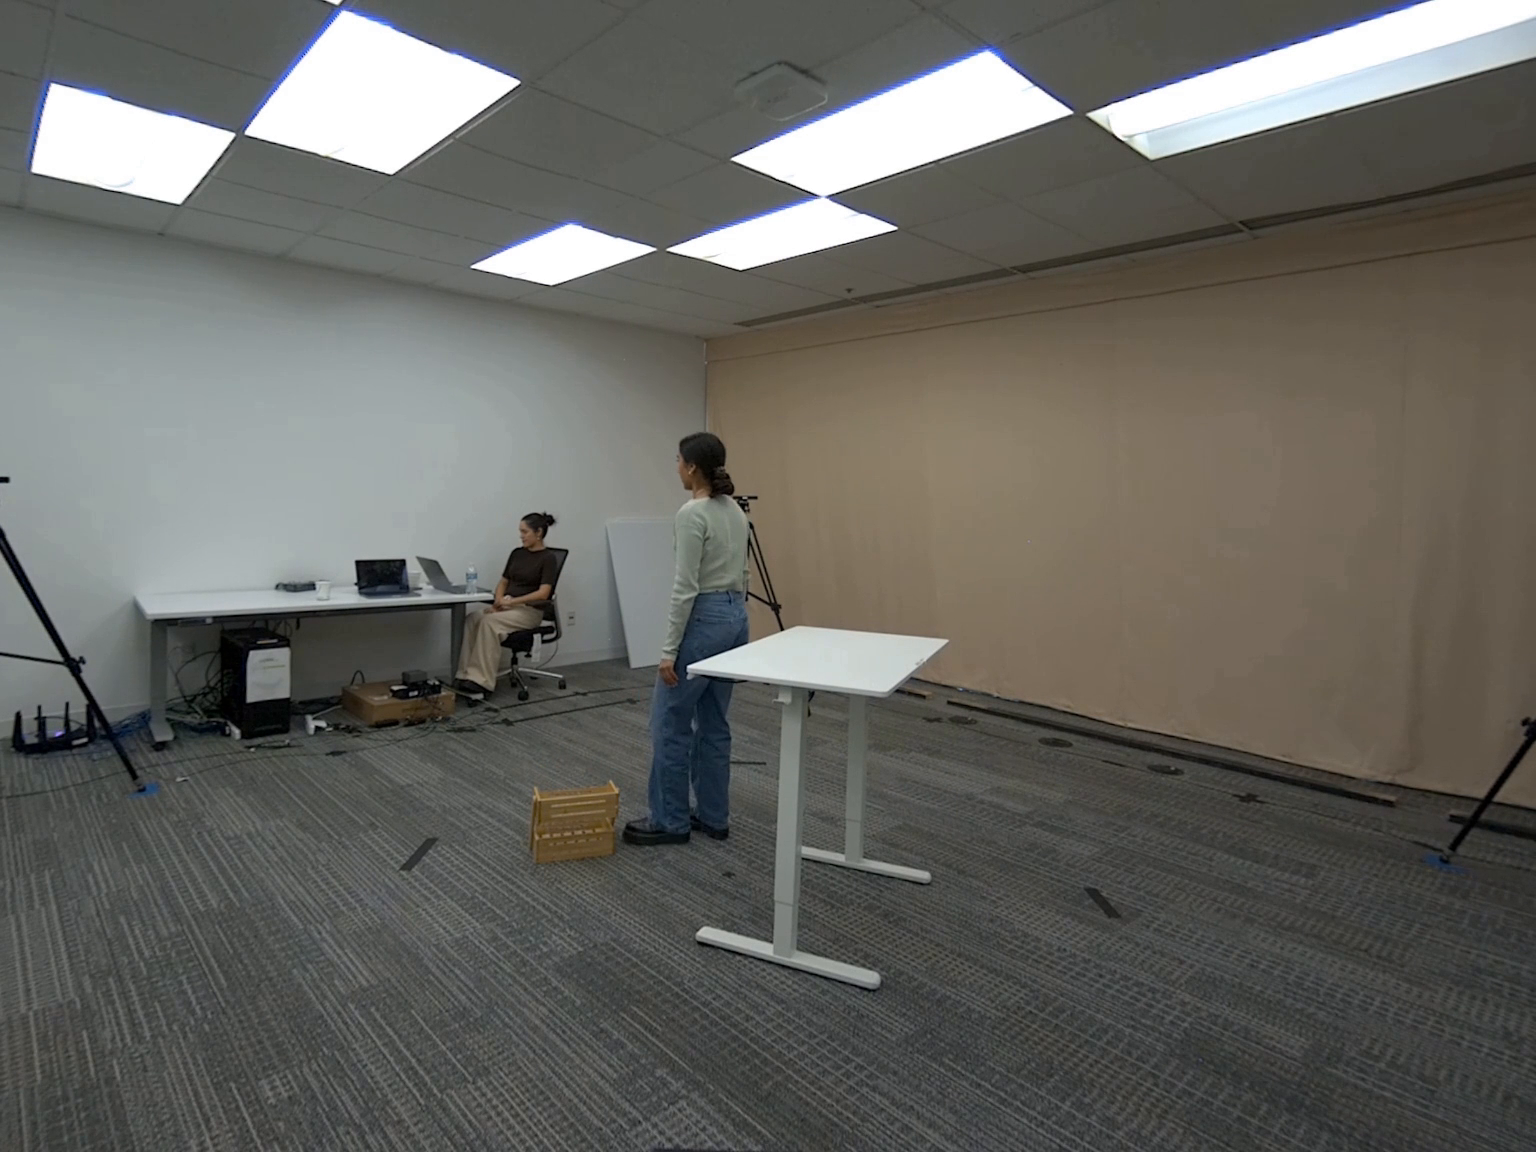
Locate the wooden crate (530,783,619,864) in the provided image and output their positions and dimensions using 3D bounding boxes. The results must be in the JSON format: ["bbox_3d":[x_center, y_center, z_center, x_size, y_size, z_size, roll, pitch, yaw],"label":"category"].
[{"bbox_3d":[-0.777,0.938,3.296,0.319,0.272,0.308,0,5,-21],"label":"wooden crate"}]
